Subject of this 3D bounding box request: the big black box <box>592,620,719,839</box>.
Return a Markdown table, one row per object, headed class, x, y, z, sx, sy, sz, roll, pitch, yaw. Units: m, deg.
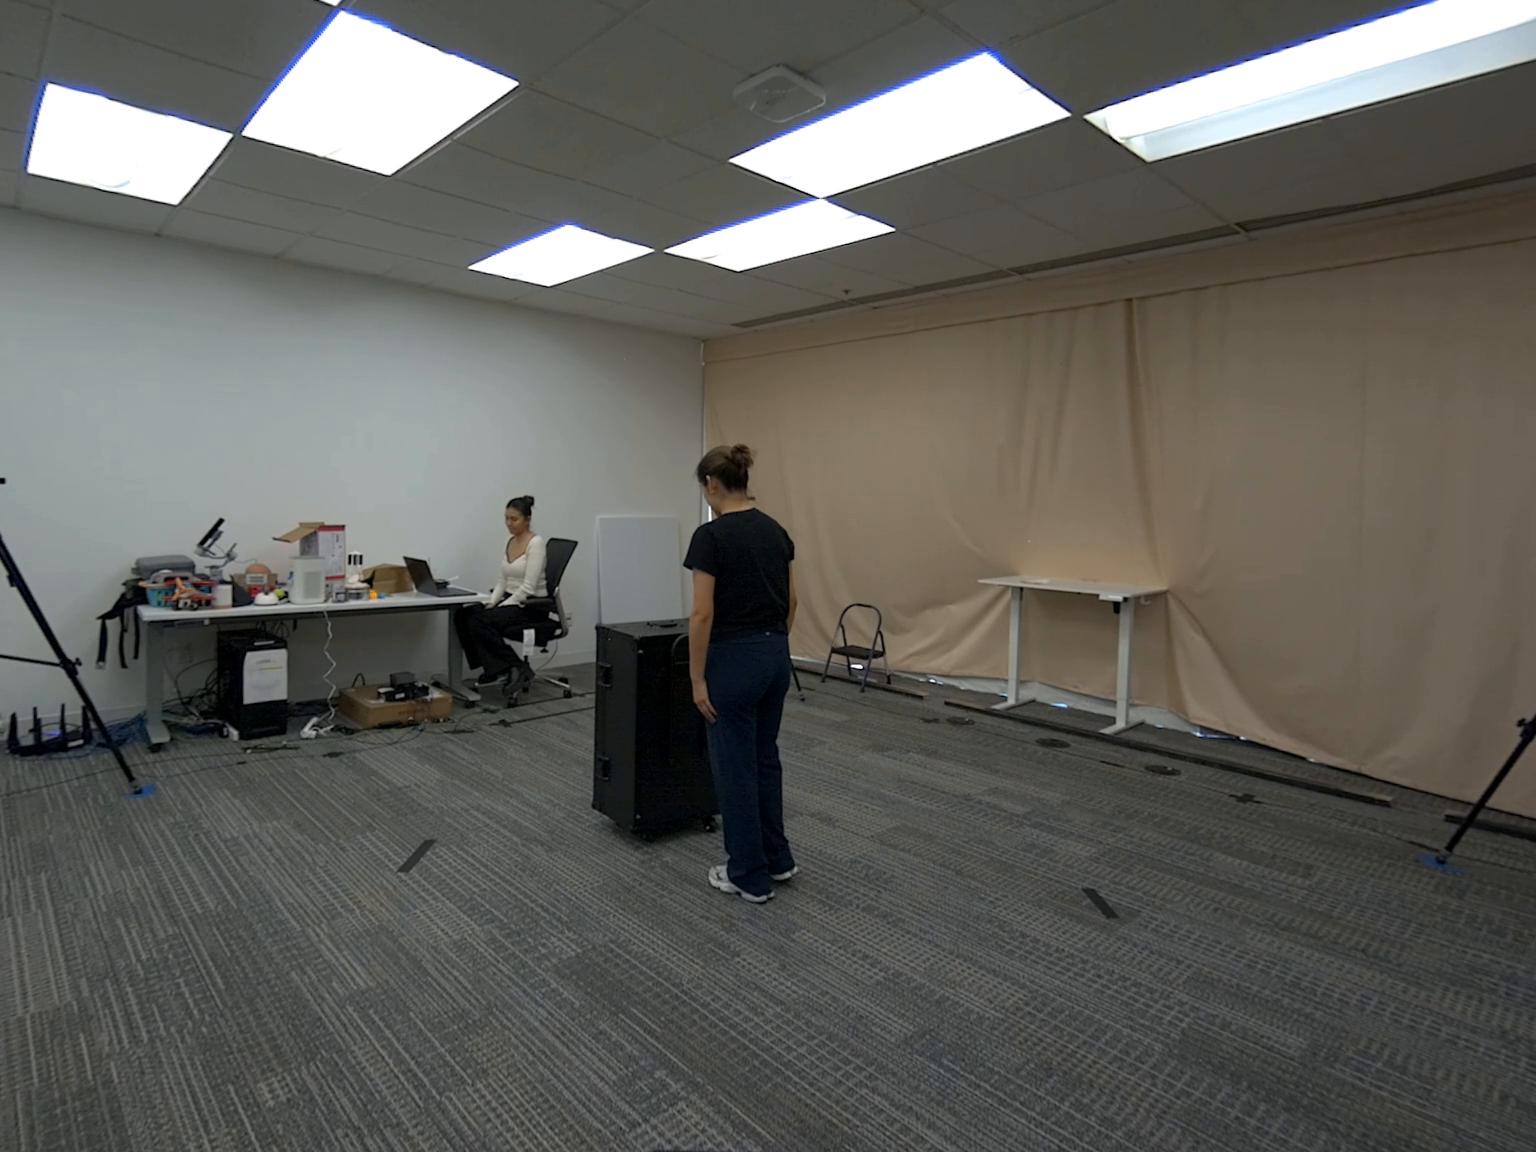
| class | x | y | z | sx | sy | sz | roll | pitch | yaw |
| --- | --- | --- | --- | --- | --- | --- | --- | --- | --- |
| big black box | -0.435 | 0.577 | 3.517 | 0.509 | 0.860 | 0.406 | 0 | 4 | -37 |
